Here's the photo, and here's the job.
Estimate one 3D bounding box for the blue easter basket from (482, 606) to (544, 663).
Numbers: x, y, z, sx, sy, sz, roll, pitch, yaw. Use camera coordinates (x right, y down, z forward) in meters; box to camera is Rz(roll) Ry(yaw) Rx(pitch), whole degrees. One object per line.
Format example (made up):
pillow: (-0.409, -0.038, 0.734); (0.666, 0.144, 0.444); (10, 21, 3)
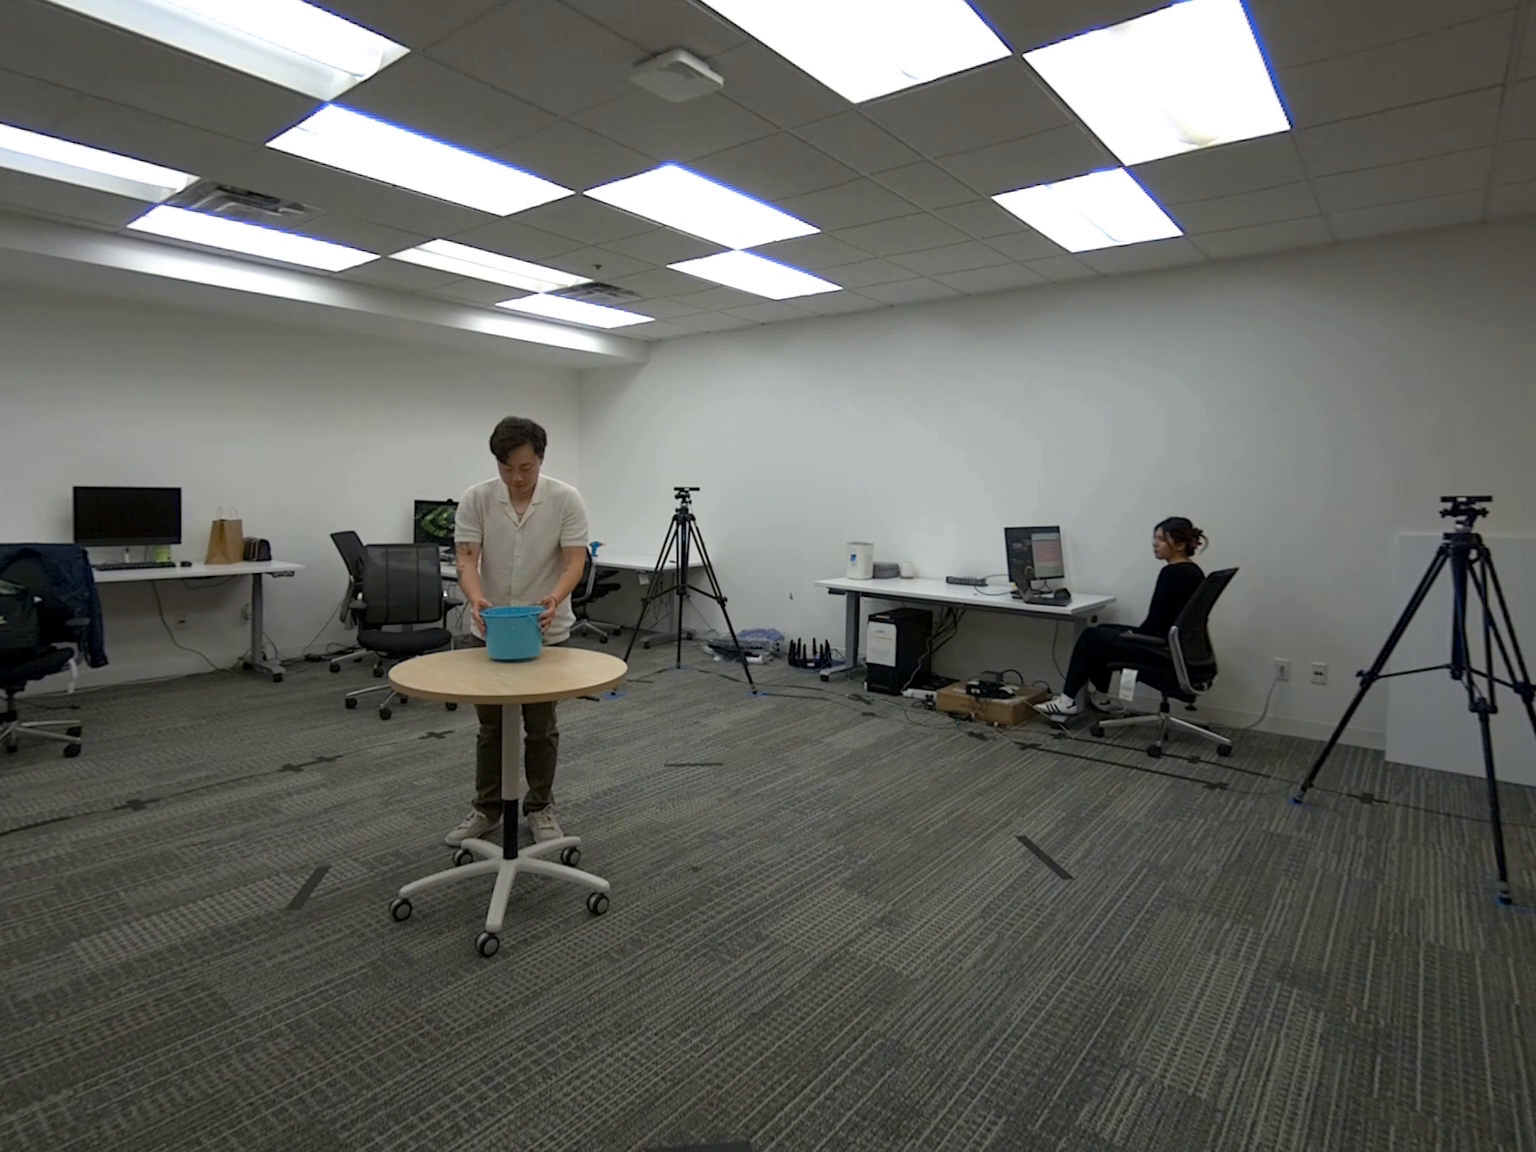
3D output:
blue easter basket: (-0.900, 0.194, 2.974); (0.243, 0.155, 0.245); (-1, 5, -2)
